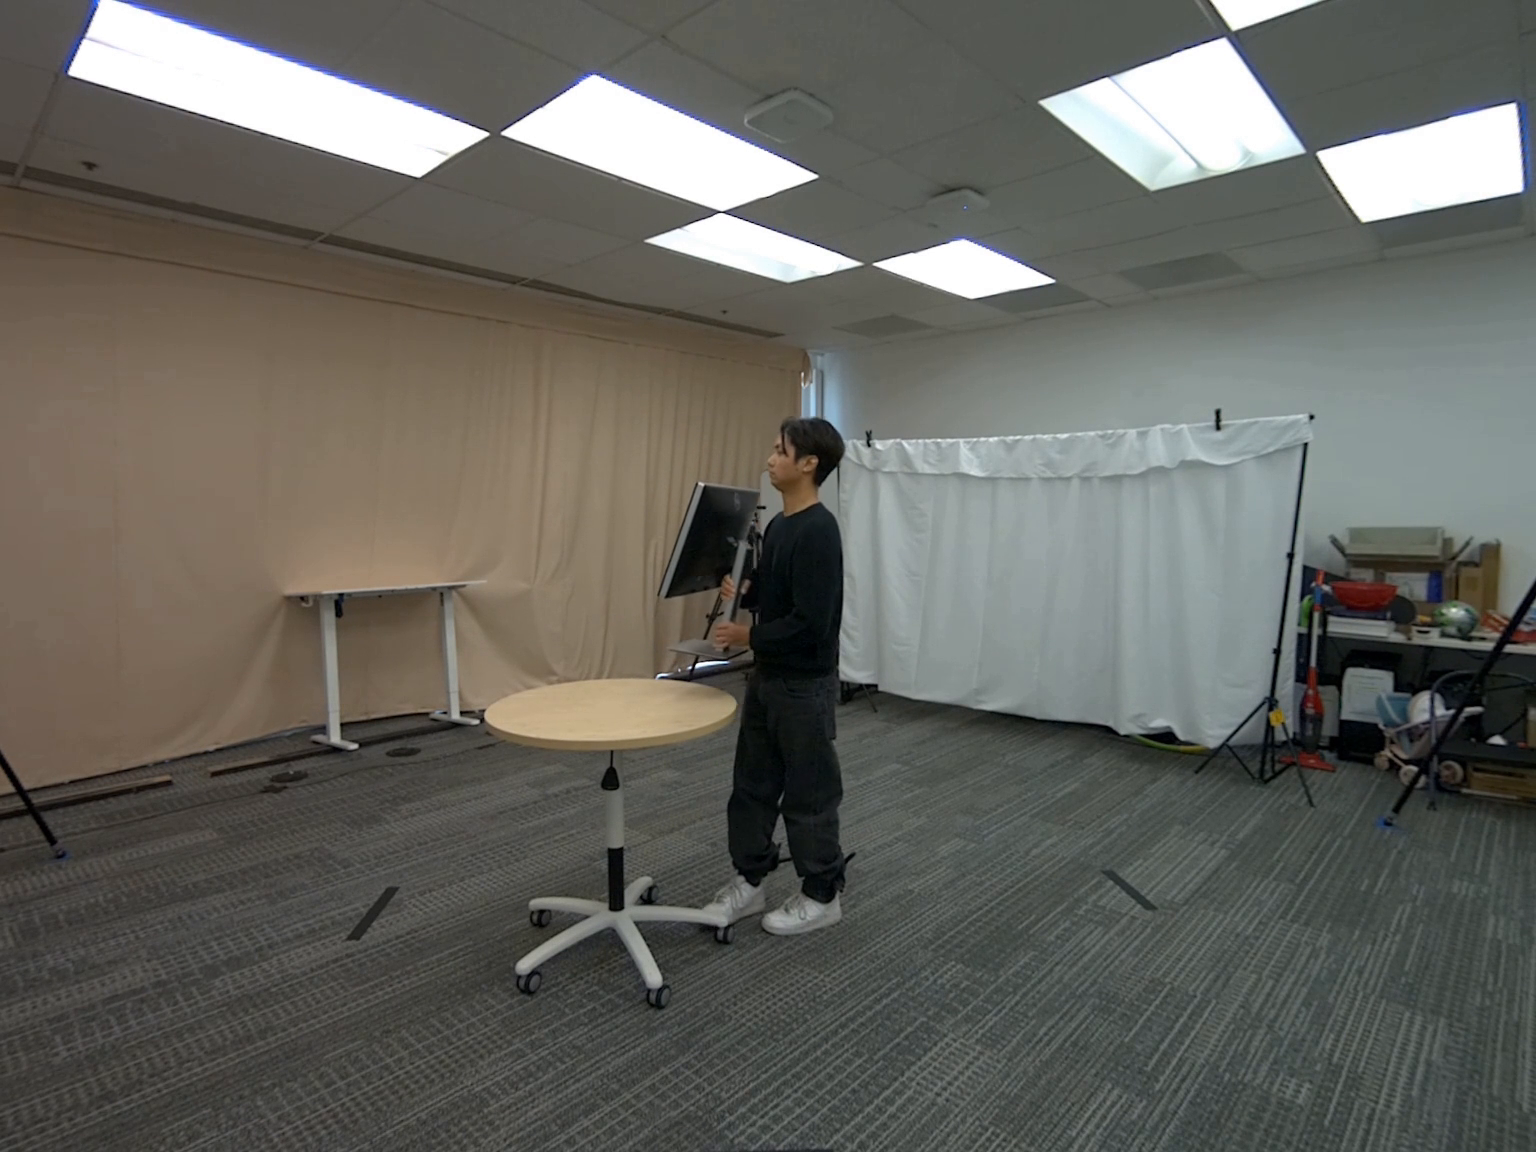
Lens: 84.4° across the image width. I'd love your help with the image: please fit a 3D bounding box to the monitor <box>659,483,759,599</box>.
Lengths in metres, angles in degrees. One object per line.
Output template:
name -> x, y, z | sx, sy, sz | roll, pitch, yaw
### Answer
monitor -> -0.160, -0.020, 2.731 | 0.178, 0.515, 0.520 | 4, 4, 17
